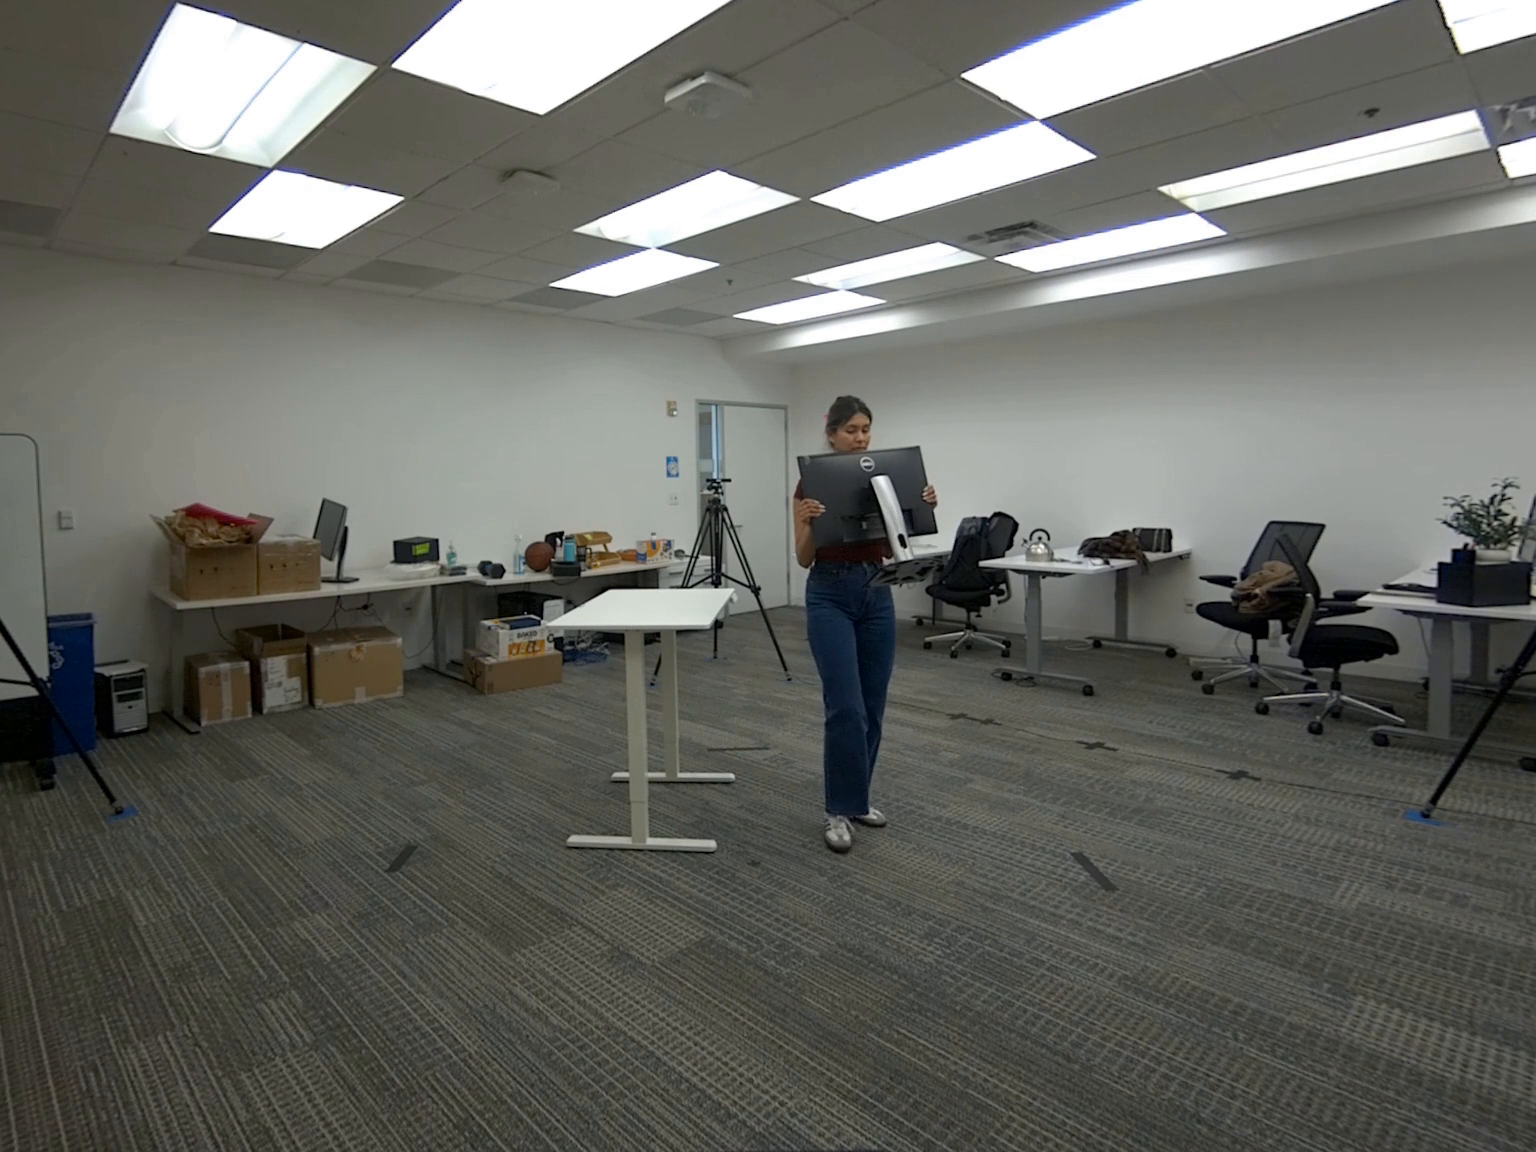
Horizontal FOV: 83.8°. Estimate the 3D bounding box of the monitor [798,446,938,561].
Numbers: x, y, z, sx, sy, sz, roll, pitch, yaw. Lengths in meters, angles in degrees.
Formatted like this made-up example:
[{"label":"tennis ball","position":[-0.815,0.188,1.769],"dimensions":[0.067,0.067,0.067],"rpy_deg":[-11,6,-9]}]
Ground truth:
[{"label":"monitor","position":[0.418,-0.229,3.157],"dimensions":[0.528,0.535,0.186],"rpy_deg":[-6,-24,-25]}]
